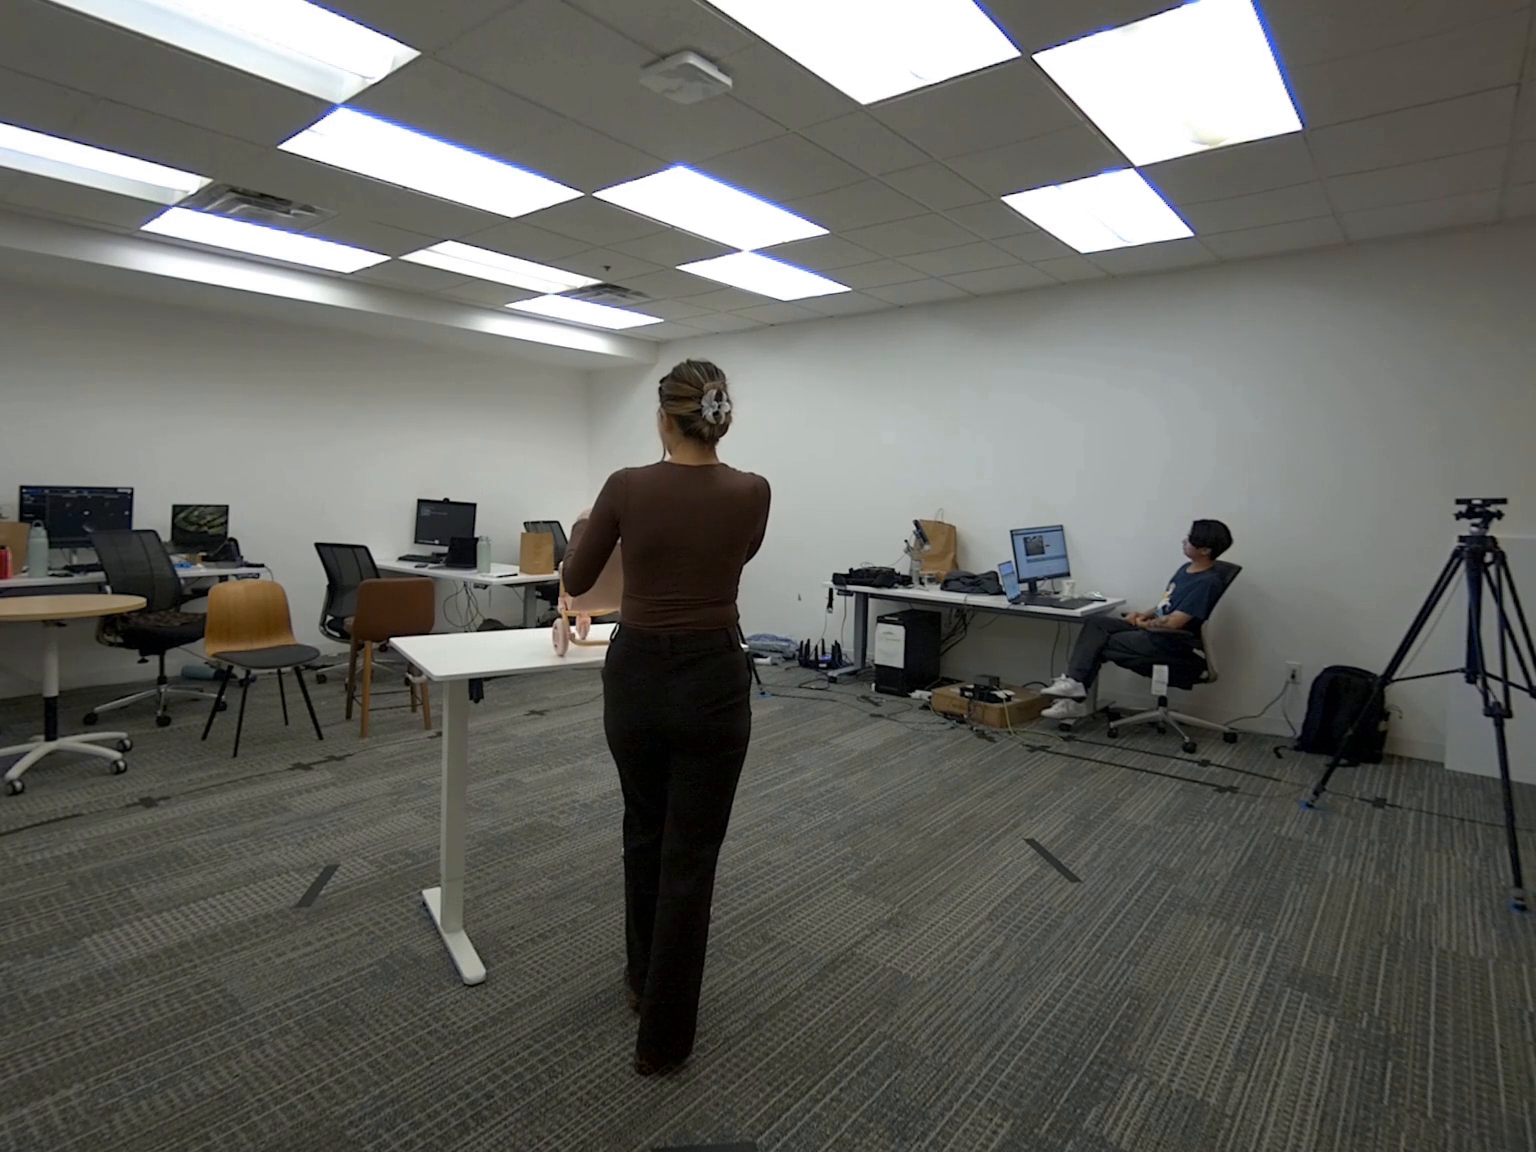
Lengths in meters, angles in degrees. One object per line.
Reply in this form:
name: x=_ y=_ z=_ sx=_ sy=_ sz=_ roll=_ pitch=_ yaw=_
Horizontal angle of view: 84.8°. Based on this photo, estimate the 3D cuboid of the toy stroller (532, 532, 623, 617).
toy stroller: x=-0.531 y=0.008 z=2.638 sx=0.275 sy=0.528 sz=0.353 roll=3 pitch=19 yaw=-21
